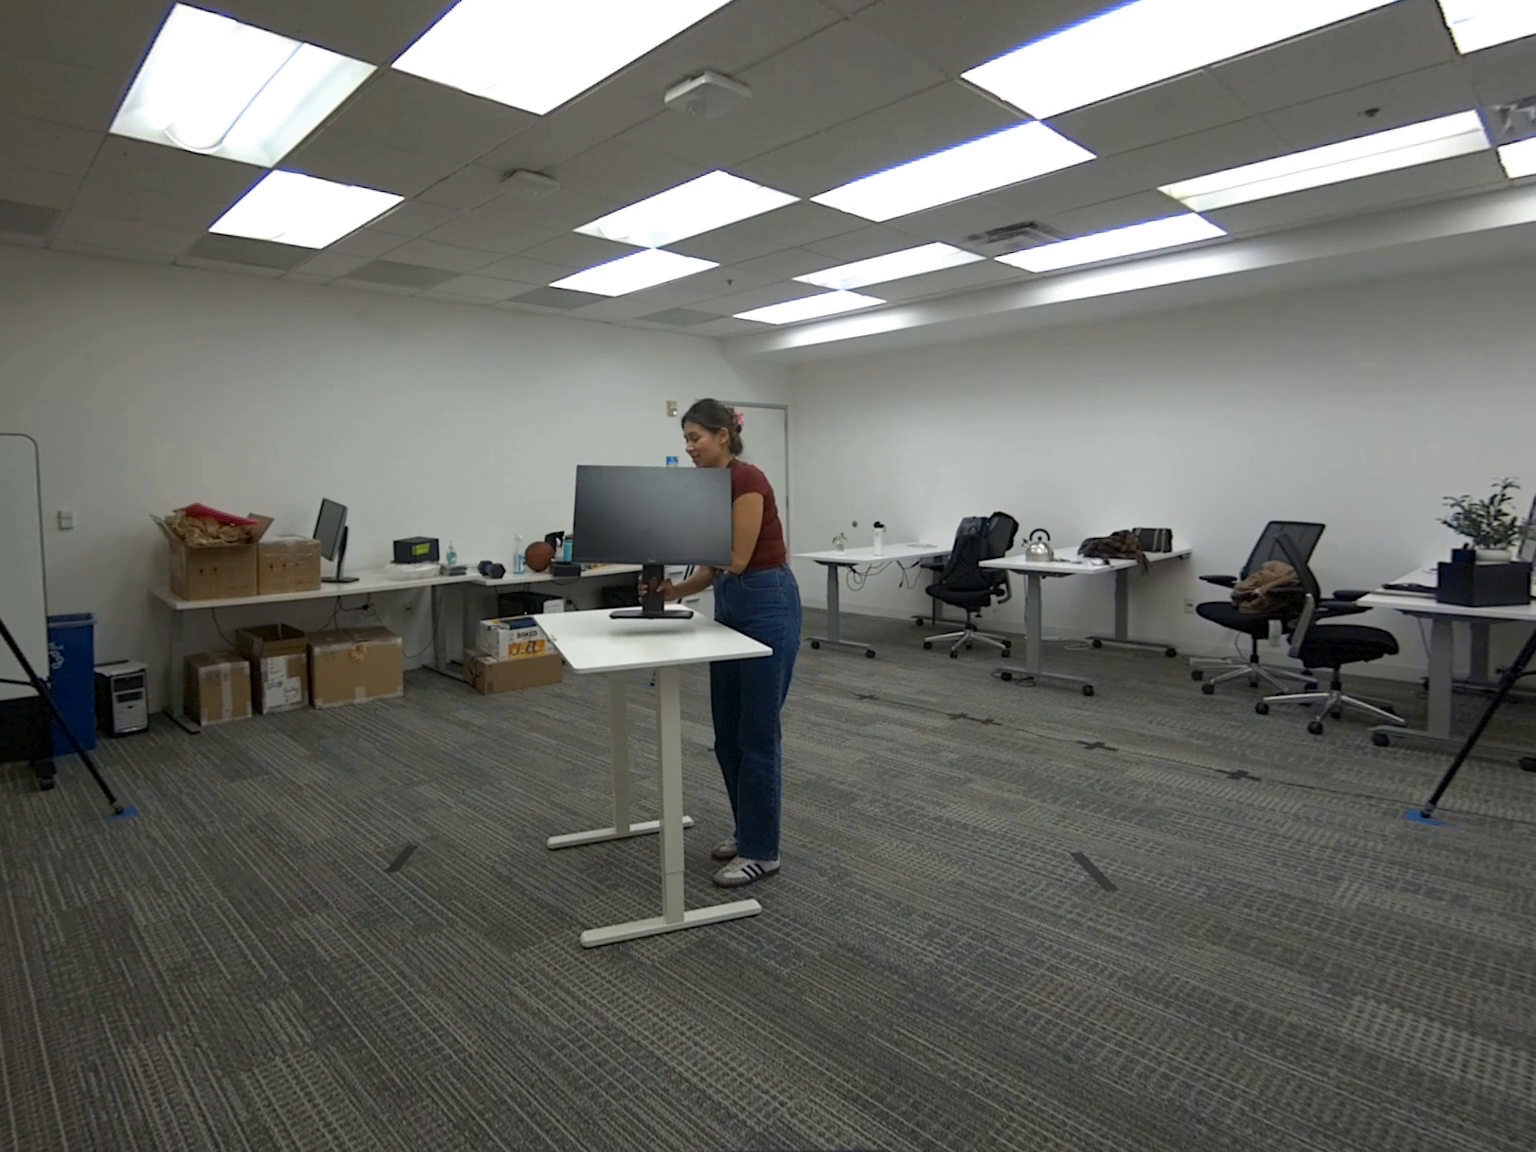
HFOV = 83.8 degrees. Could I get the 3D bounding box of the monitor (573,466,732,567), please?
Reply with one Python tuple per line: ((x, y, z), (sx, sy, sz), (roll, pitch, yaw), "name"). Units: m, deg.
((-0.397, -0.116, 2.934), (0.536, 0.524, 0.187), (1, -3, -5), "monitor")
